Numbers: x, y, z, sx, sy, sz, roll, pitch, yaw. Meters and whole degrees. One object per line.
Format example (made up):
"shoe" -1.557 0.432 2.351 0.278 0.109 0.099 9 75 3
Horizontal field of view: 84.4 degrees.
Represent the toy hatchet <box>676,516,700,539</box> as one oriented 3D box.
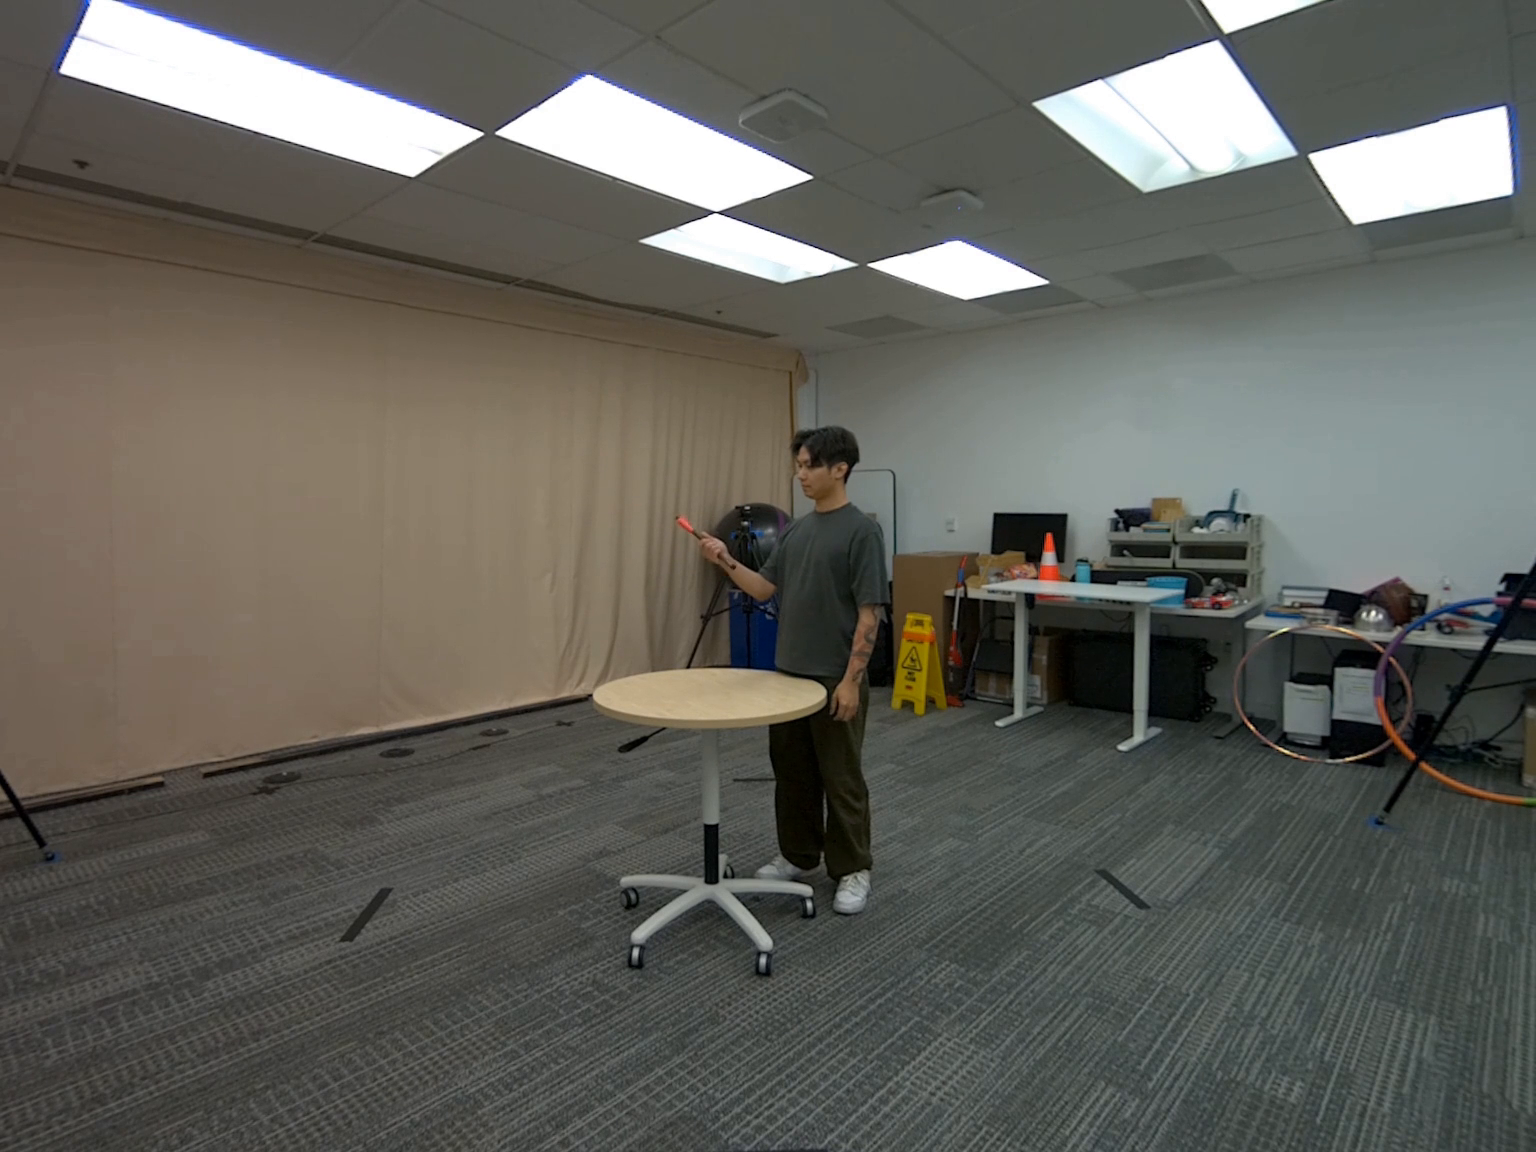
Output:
"toy hatchet" -0.219 -0.123 2.900 0.277 0.029 0.127 41 2 22
